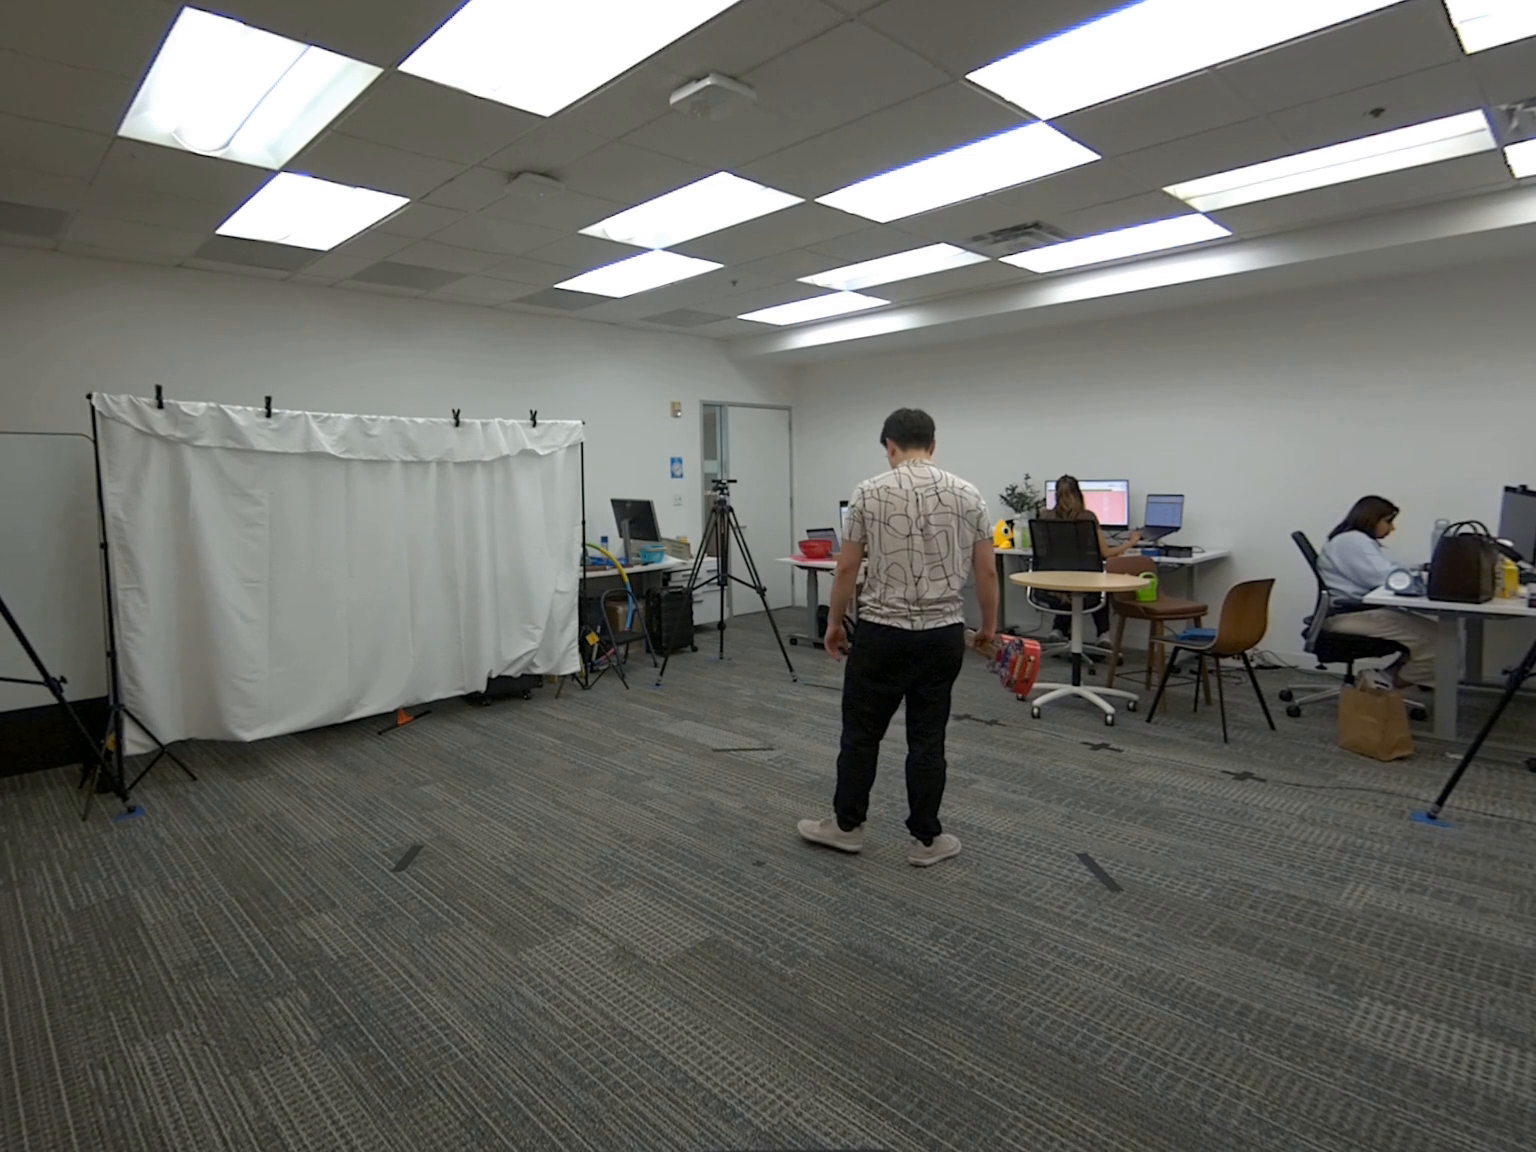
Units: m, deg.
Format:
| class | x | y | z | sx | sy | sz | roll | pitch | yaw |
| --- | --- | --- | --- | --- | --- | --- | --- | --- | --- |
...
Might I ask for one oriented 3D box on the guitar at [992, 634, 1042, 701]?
| class | x | y | z | sx | sy | sz | roll | pitch | yaw |
| --- | --- | --- | --- | --- | --- | --- | --- | --- | --- |
| guitar | 0.831 | 0.252 | 3.129 | 0.070 | 0.191 | 0.507 | 10 | 16 | -10 |
